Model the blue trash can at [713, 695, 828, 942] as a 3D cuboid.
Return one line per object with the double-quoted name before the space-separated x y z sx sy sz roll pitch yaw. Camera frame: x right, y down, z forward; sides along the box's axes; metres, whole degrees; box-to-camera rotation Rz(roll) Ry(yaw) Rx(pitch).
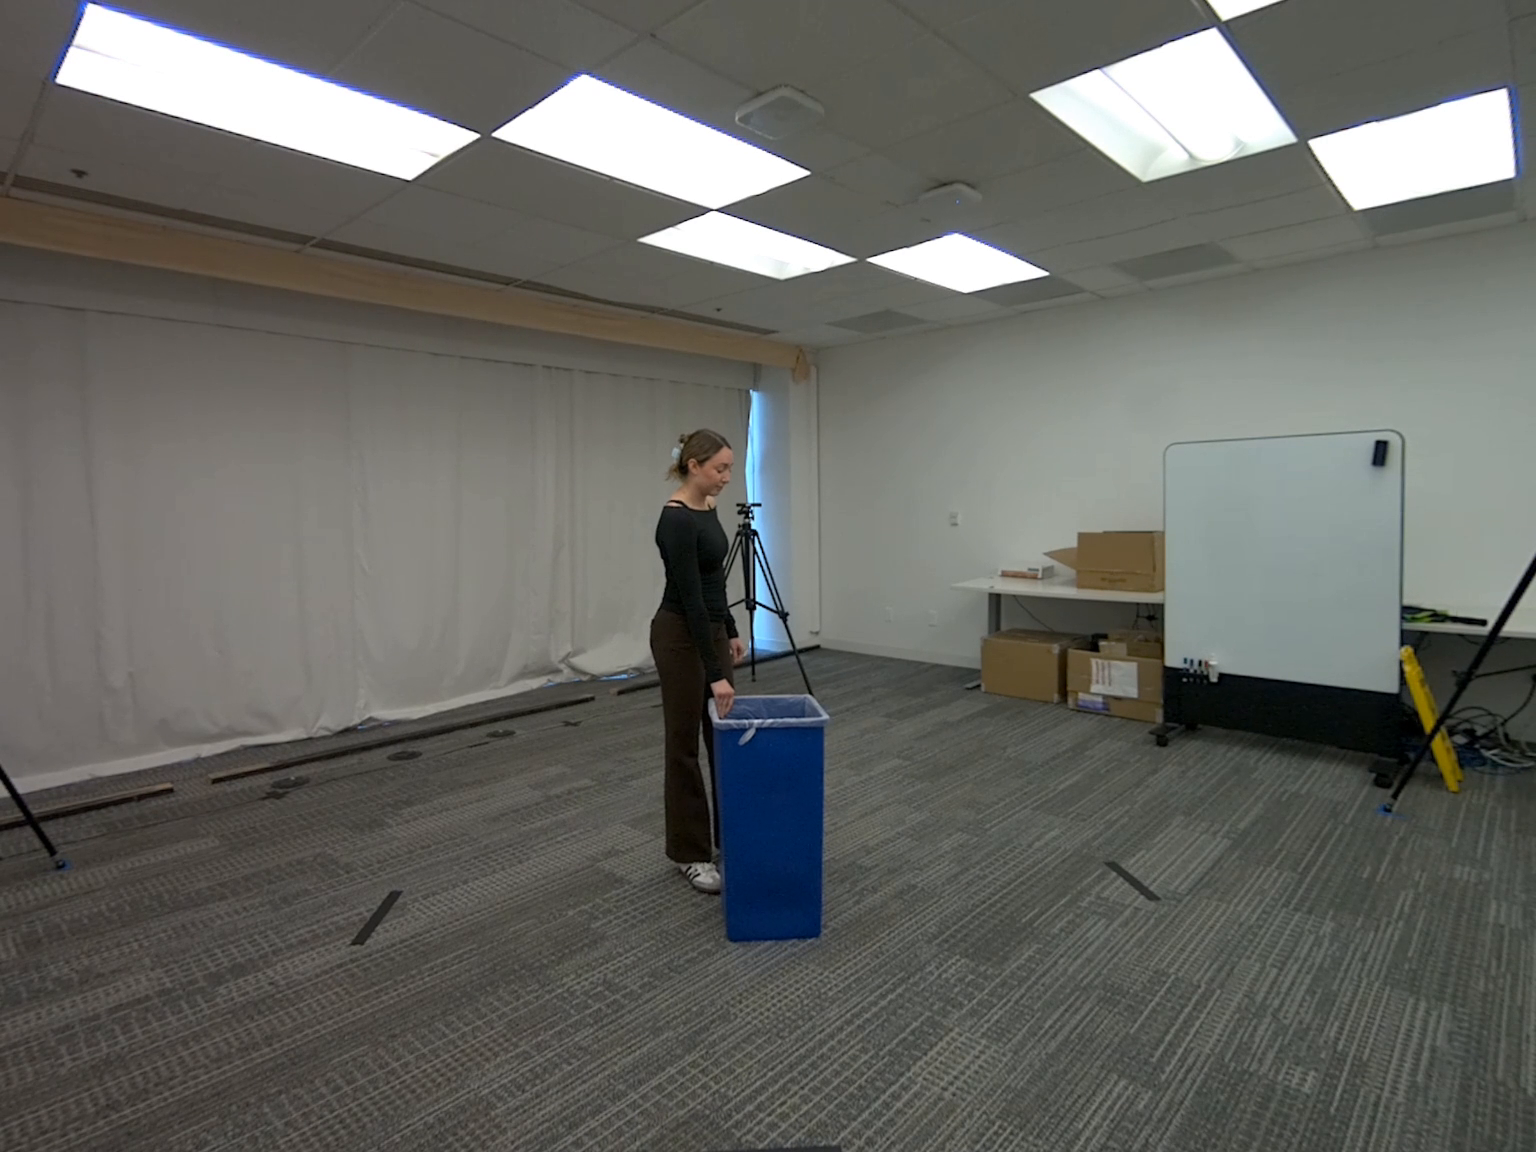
"blue trash can" 0.001 0.791 2.818 0.377 0.712 0.376 -1 3 -4
